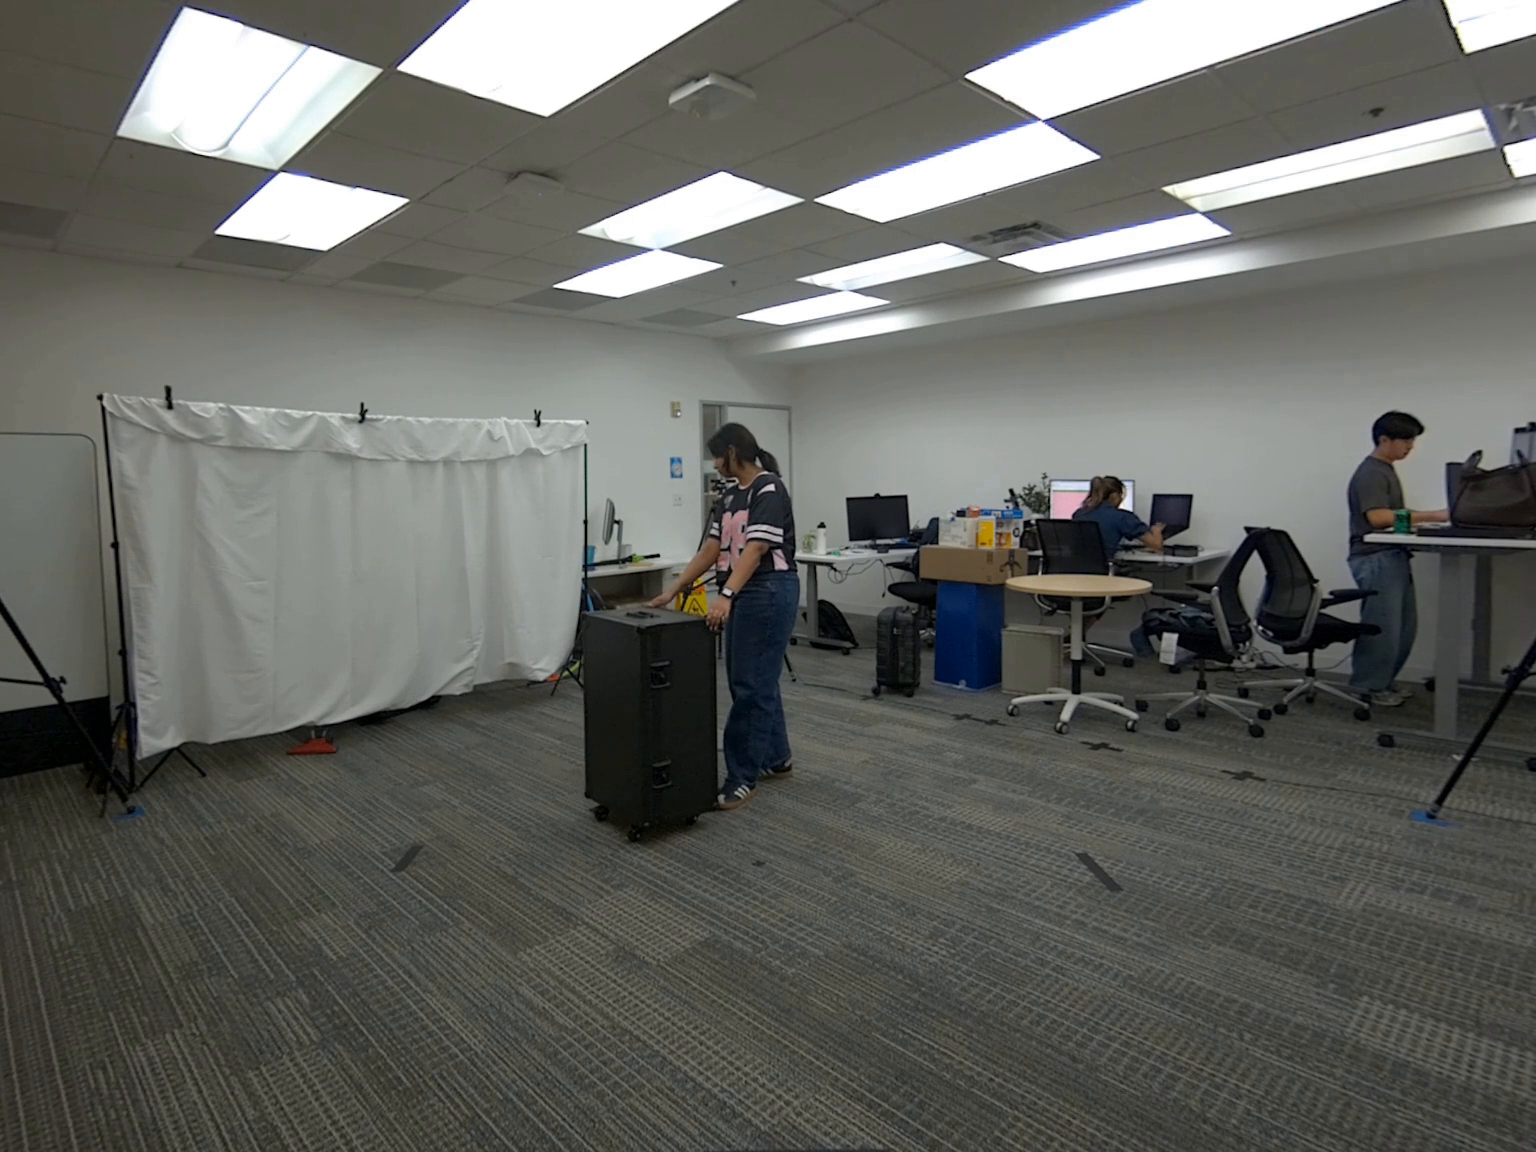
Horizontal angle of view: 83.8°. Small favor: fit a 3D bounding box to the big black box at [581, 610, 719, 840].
[{"bbox_3d":[-0.498,0.589,3.524,0.375,0.866,0.539,-2,4,-39],"label":"big black box"}]
